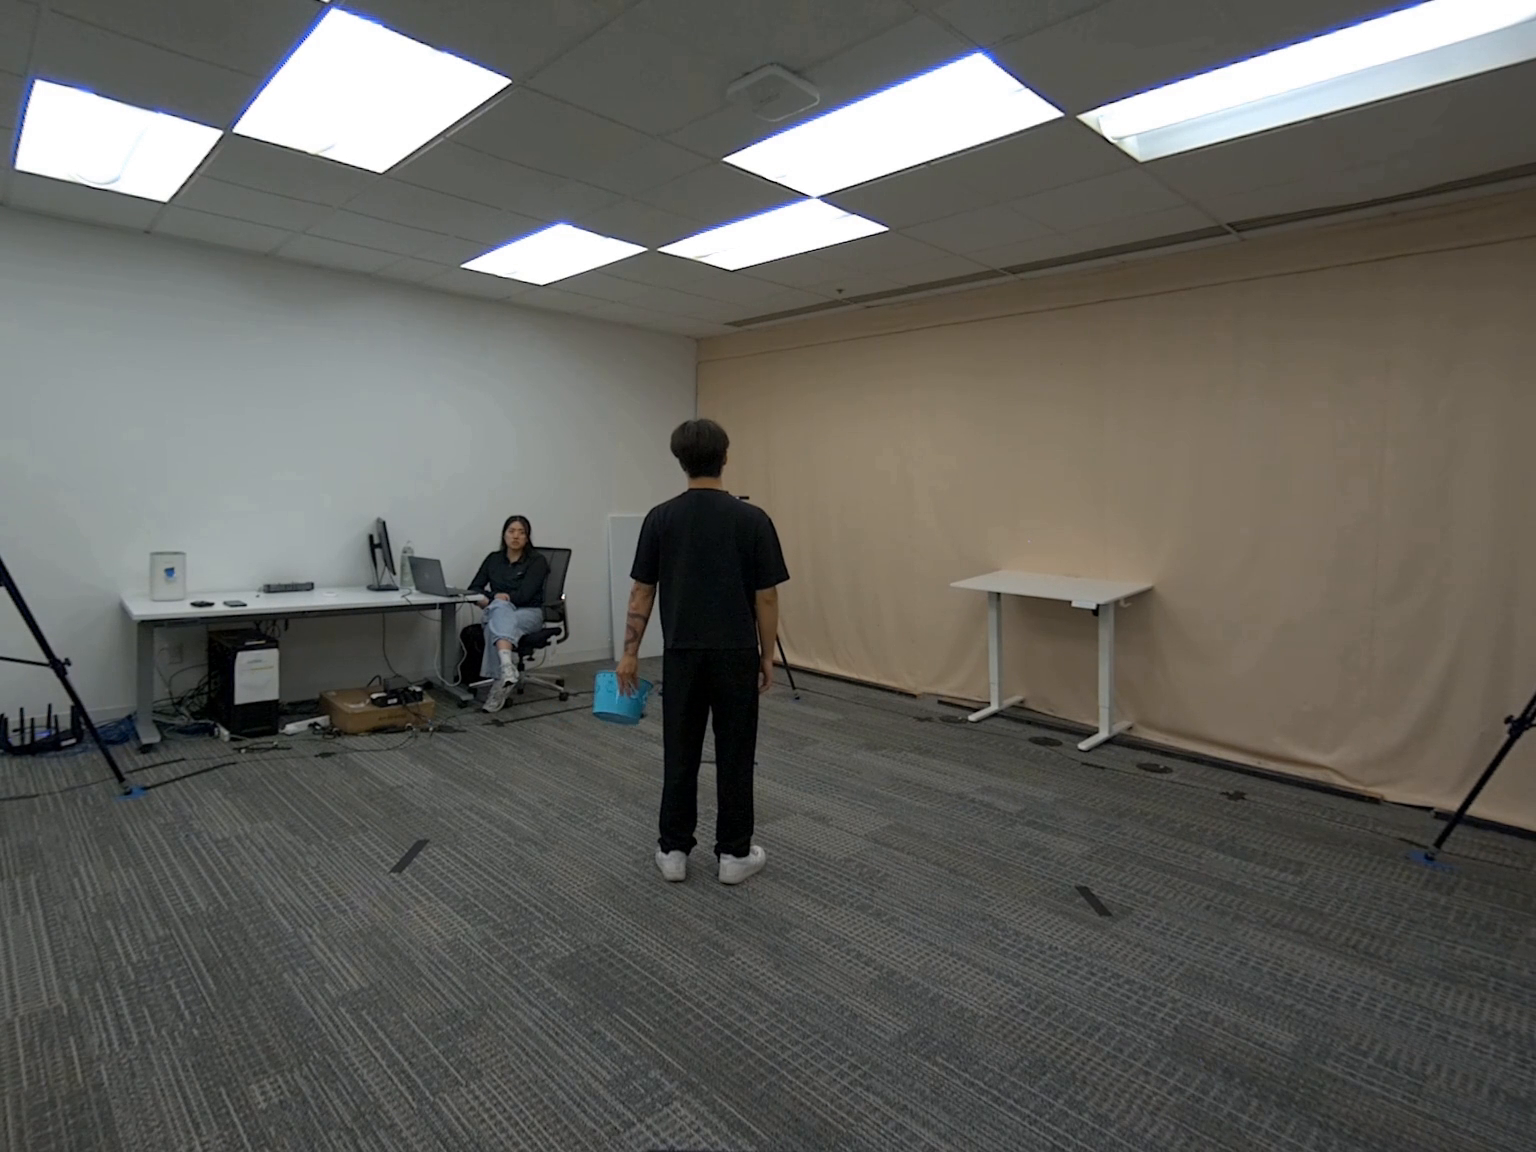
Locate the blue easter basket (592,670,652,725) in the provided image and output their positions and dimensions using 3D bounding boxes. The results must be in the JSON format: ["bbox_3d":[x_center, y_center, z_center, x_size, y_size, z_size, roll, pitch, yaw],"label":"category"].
[{"bbox_3d":[-0.567,0.468,3.246,0.244,0.158,0.240,9,-23,3],"label":"blue easter basket"}]
